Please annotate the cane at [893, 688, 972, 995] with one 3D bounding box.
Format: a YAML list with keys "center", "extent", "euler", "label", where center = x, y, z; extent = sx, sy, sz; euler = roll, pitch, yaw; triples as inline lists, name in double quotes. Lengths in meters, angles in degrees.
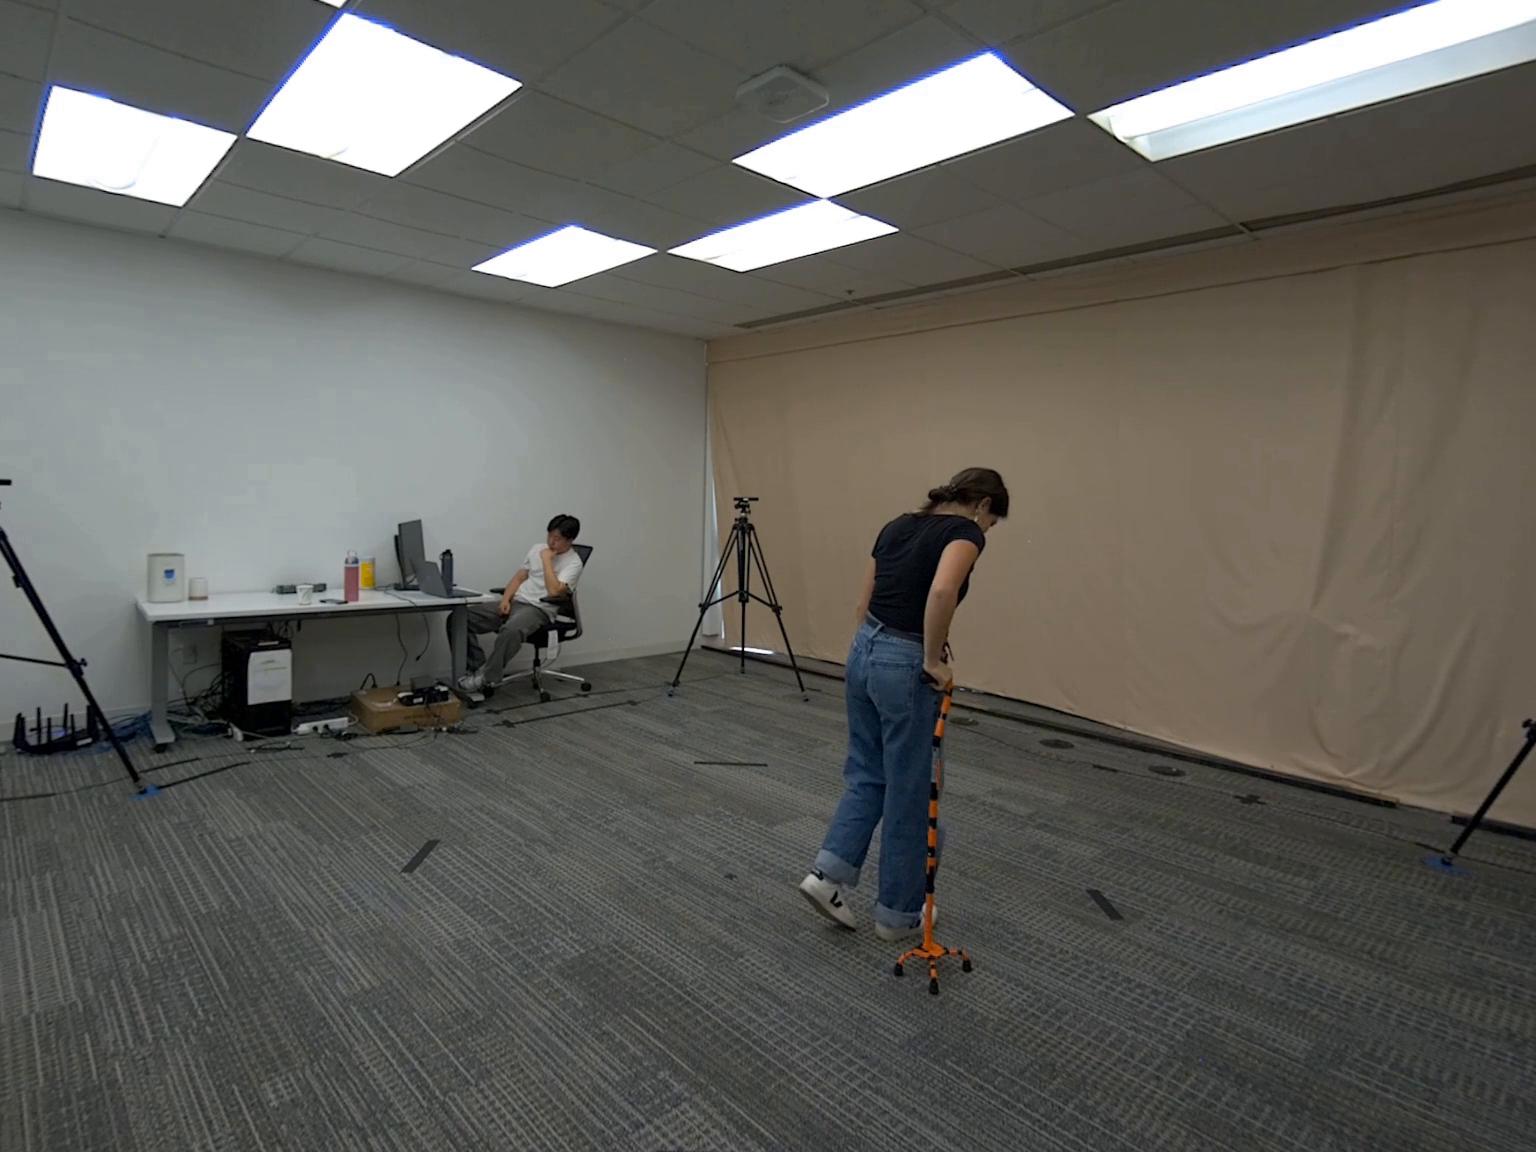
- center: [0.497, 0.731, 2.467]
  extent: [0.155, 0.906, 0.202]
  euler: [5, 4, 45]
  label: "cane"
